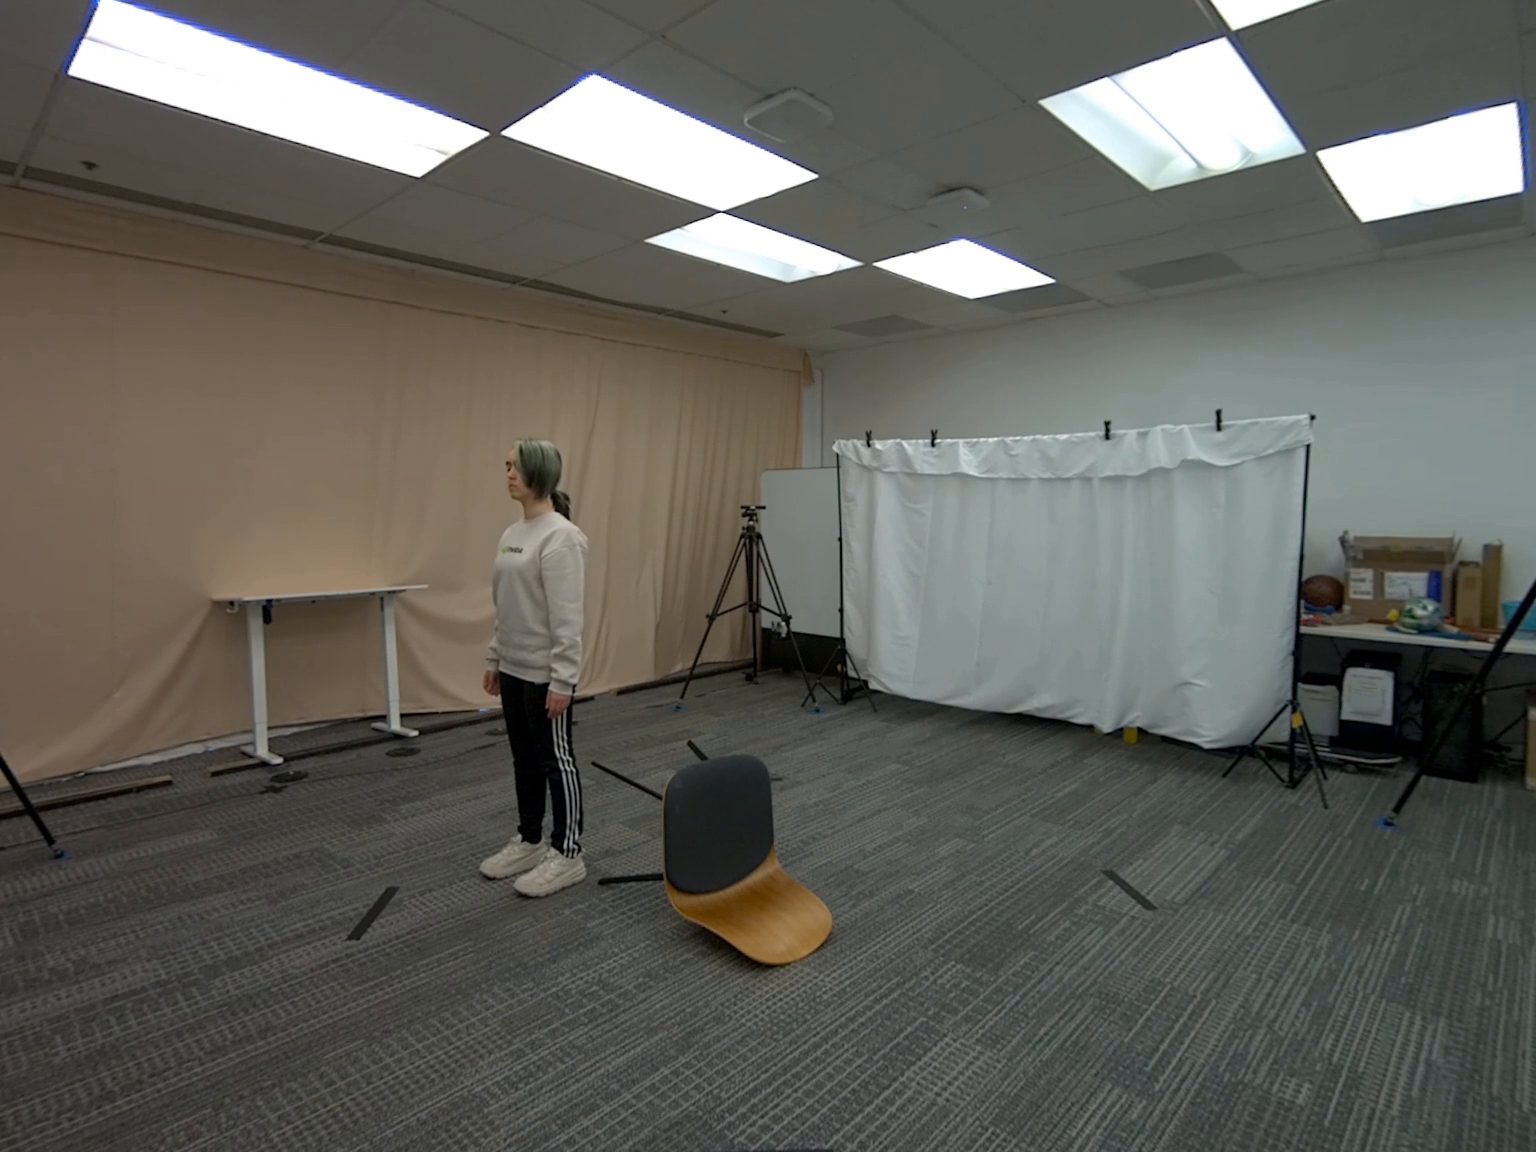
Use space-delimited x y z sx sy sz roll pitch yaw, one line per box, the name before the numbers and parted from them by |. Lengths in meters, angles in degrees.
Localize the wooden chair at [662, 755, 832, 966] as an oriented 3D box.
wooden chair | -0.187 0.895 2.906 0.464 0.521 0.907 -4 7 -39
